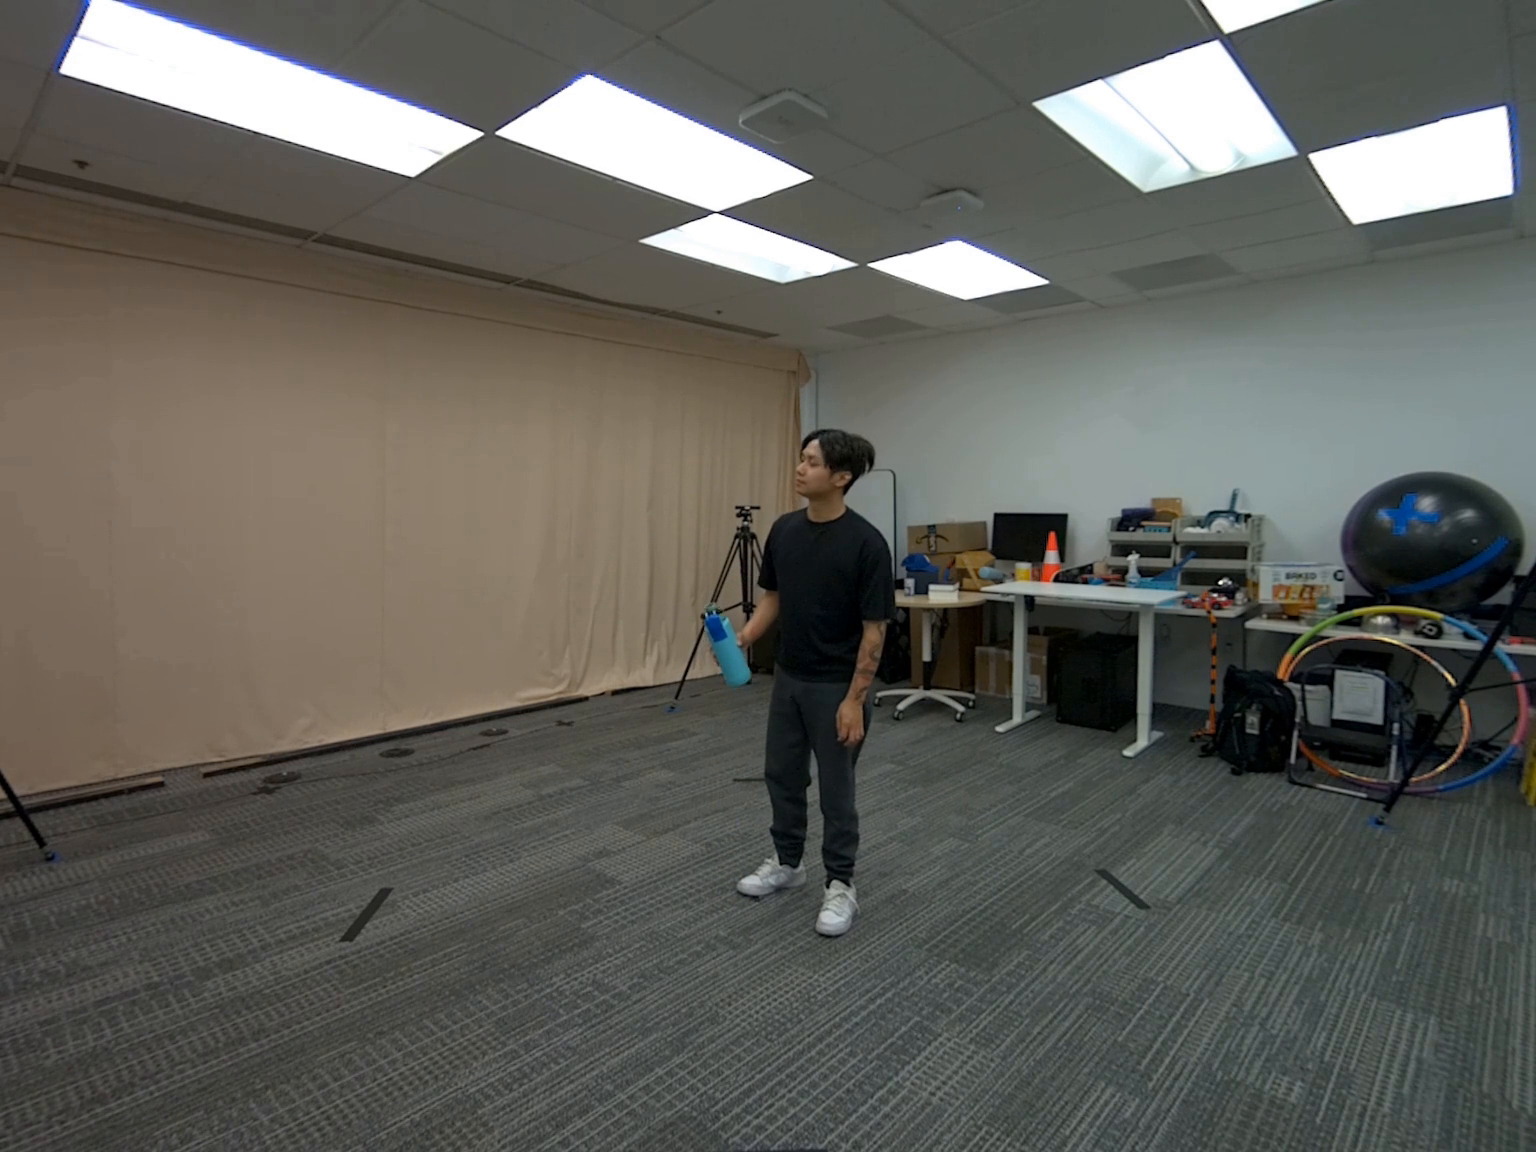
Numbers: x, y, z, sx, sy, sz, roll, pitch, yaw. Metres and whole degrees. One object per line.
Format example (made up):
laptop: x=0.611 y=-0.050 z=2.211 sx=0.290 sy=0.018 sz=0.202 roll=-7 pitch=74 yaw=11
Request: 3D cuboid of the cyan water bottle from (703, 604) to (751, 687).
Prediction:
cyan water bottle: x=-0.139 y=0.239 z=2.815 sx=0.093 sy=0.279 sz=0.093 roll=-19 pitch=17 yaw=5
